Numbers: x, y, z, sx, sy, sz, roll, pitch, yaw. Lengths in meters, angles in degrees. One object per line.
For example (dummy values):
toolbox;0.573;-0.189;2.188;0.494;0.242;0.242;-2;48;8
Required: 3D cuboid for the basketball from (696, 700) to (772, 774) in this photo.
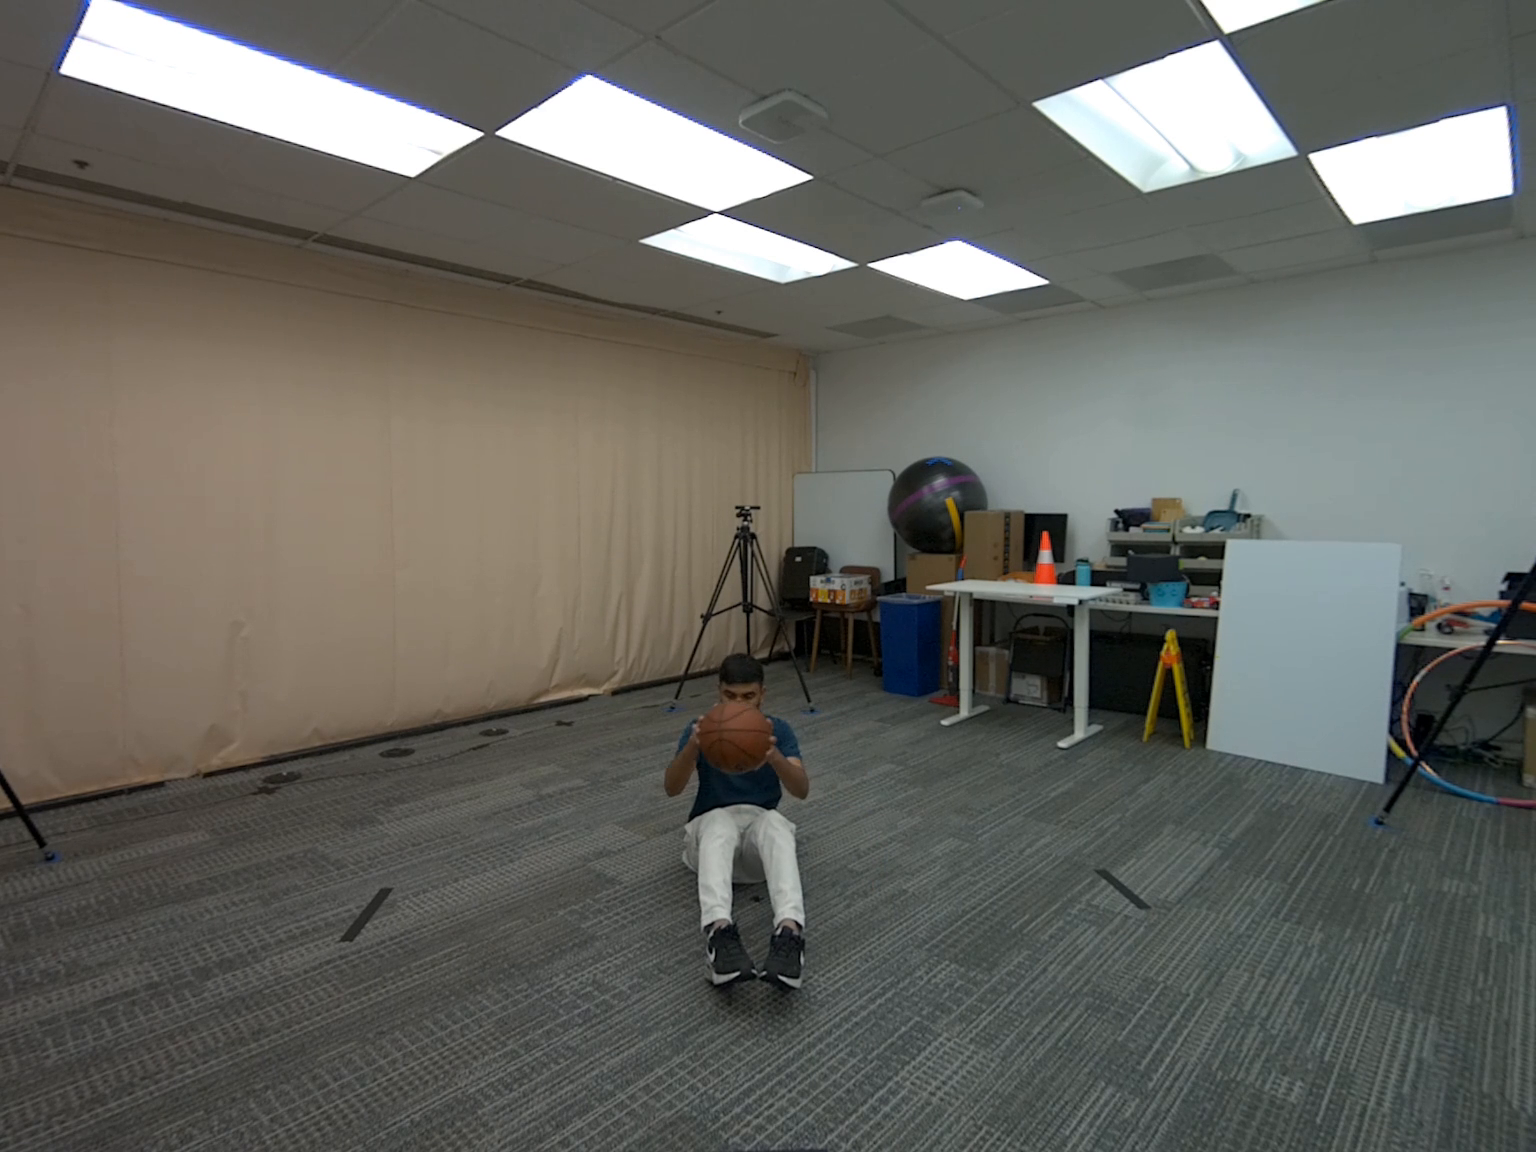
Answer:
basketball;-0.107;0.541;2.791;0.236;0.235;0.237;0;4;-2
